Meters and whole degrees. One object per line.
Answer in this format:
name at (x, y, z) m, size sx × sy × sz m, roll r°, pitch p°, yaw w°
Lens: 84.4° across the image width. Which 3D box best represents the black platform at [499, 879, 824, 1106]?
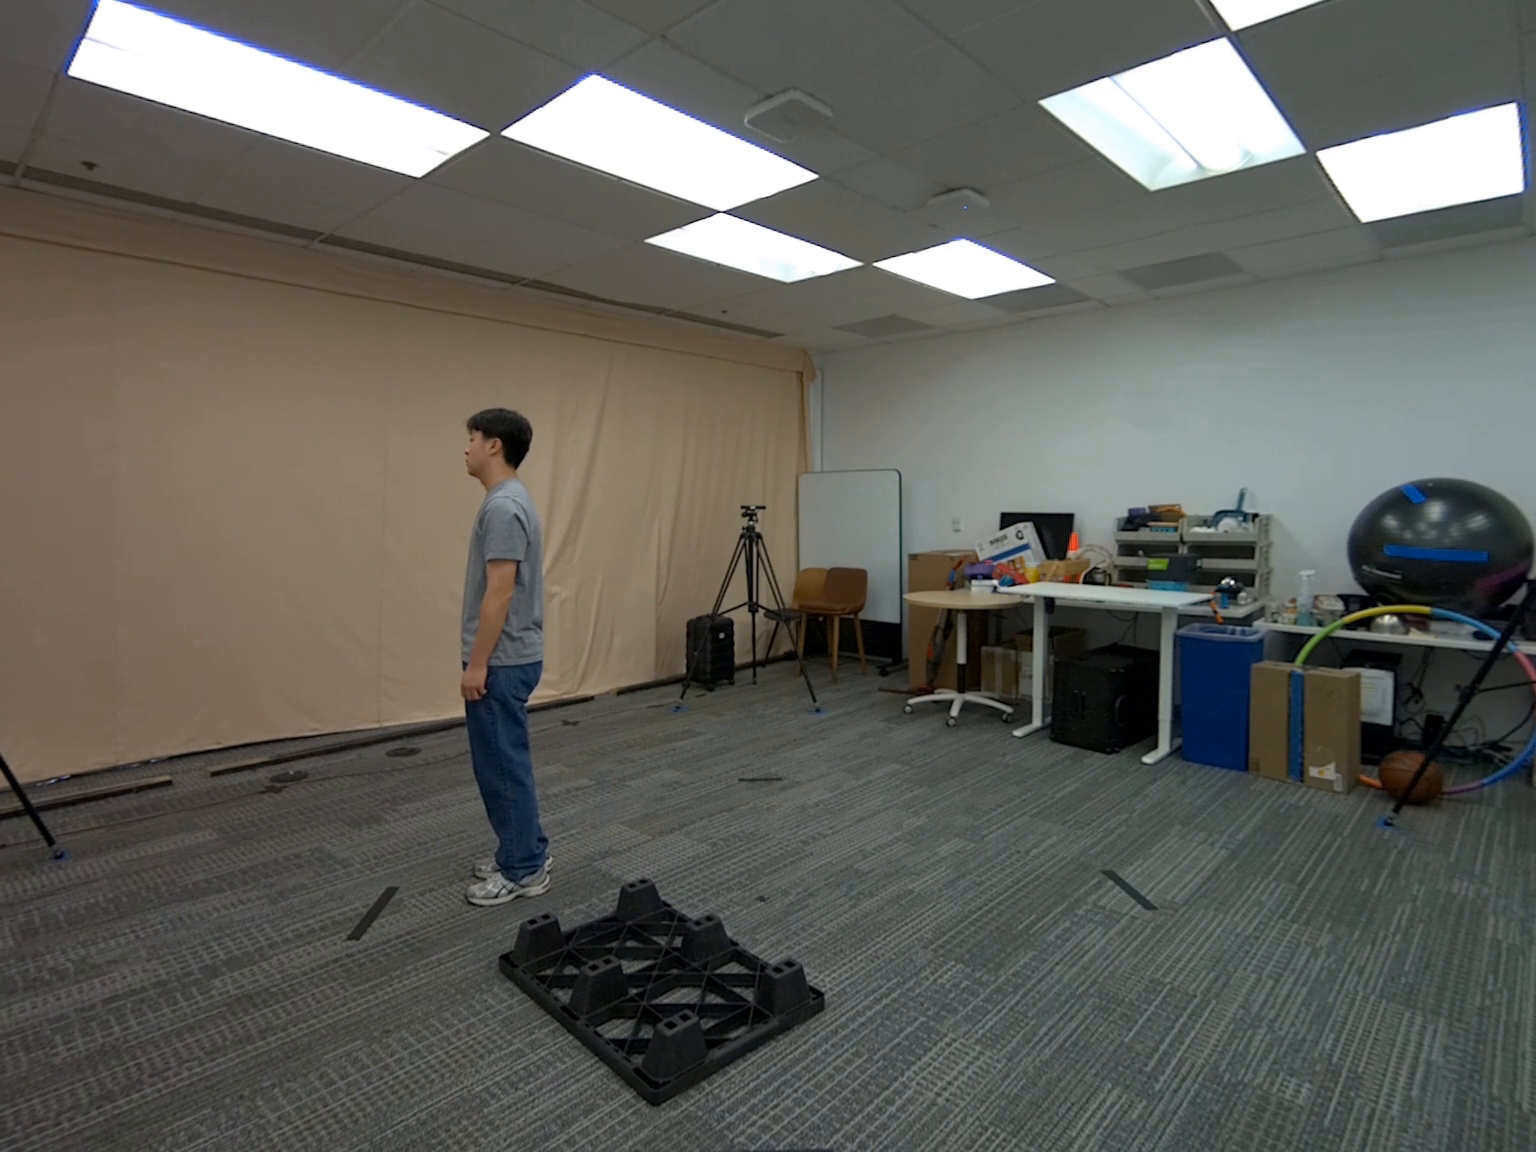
black platform at (-0.320, 1.127, 2.430) m, size 0.587 × 0.143 × 0.833 m, roll -5°, pitch 7°, yaw -43°
